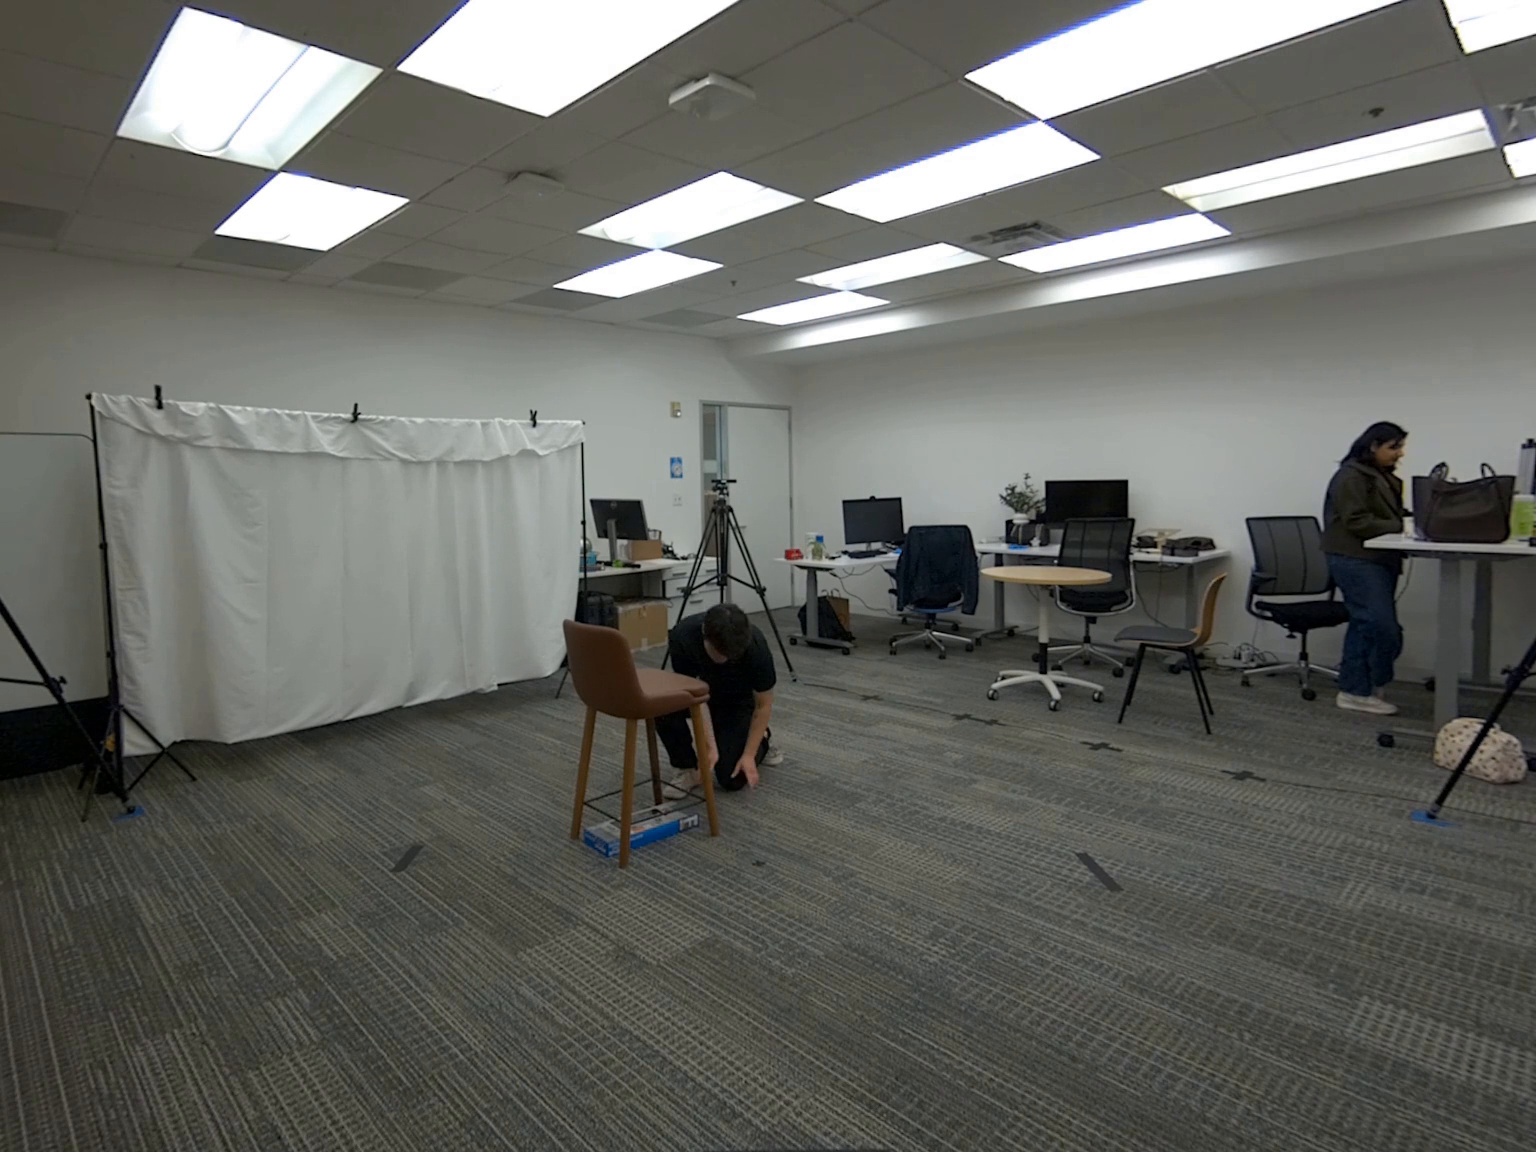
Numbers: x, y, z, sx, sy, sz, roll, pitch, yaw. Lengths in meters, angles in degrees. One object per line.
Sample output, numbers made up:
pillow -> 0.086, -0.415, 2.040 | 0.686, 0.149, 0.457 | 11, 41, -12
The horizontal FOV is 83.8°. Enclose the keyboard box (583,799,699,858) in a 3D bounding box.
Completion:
keyboard box -> -0.499, 1.004, 3.383 | 0.426, 0.059, 0.181 | -7, 8, -41
